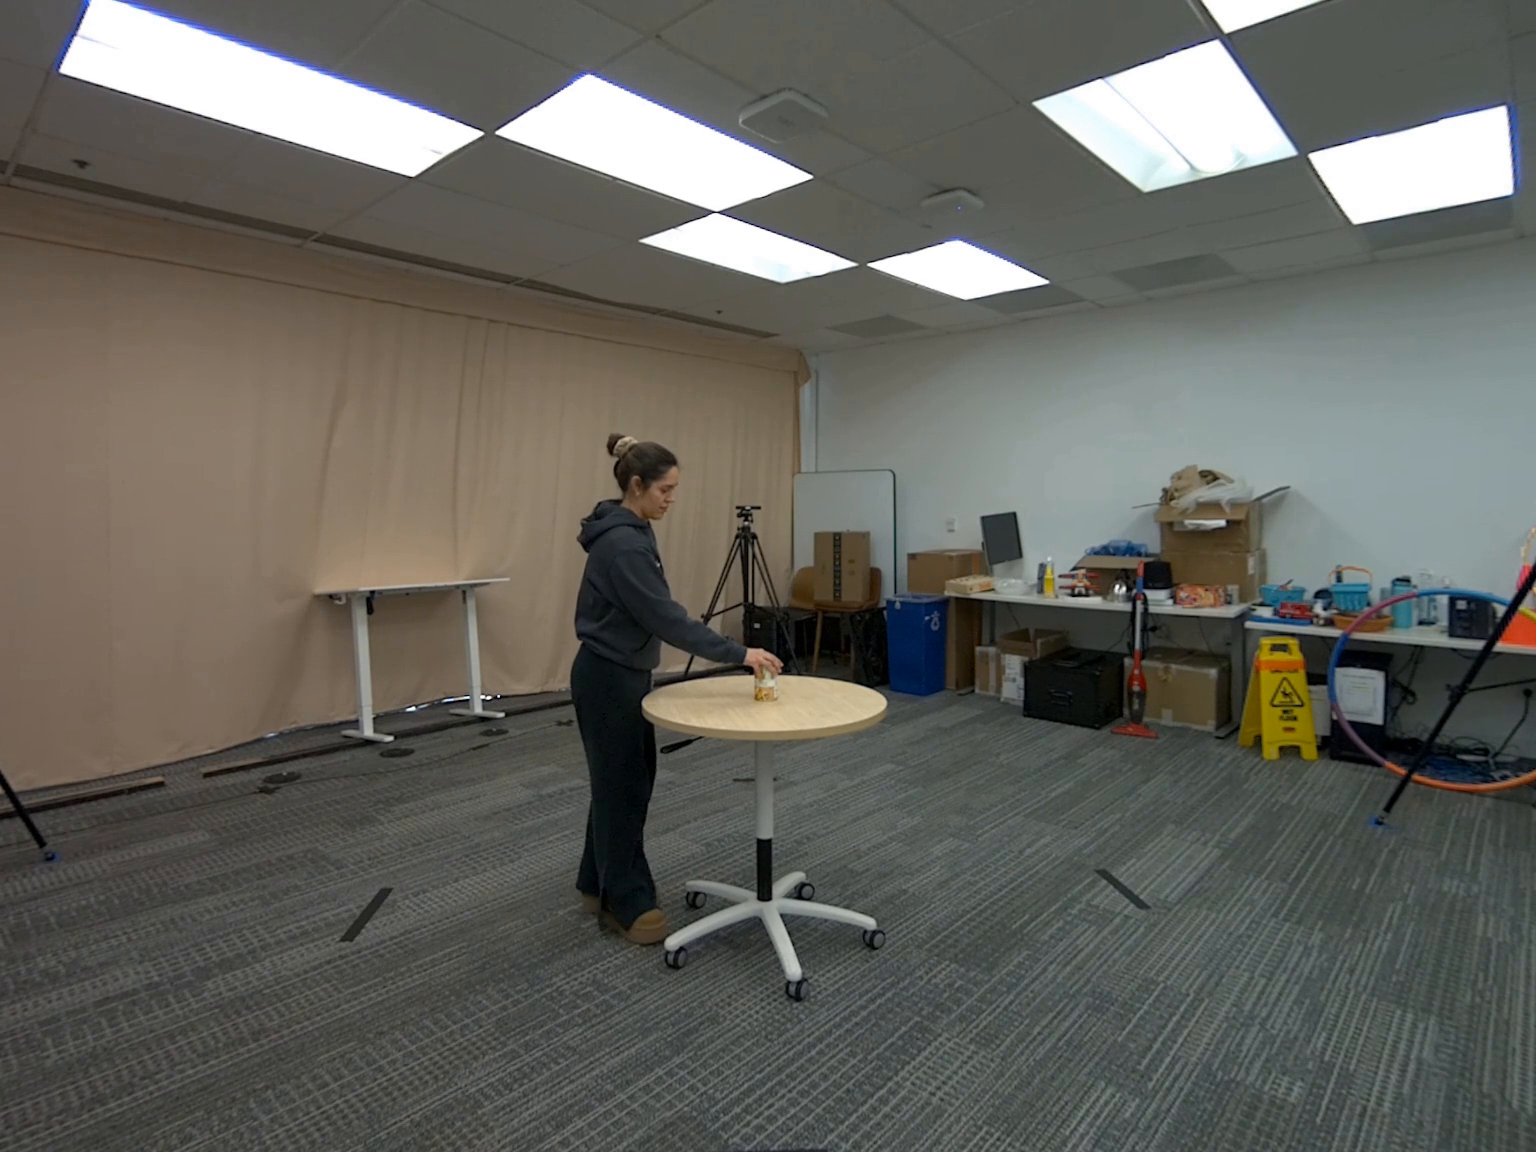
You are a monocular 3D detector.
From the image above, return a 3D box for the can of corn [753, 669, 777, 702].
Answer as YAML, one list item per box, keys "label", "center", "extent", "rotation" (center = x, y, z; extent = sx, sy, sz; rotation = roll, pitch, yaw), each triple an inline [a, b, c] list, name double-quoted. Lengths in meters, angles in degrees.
- label: "can of corn"
  center: [0.006, 0.332, 2.639]
  extent: [0.074, 0.110, 0.074]
  rotation: [-4, 7, -1]
